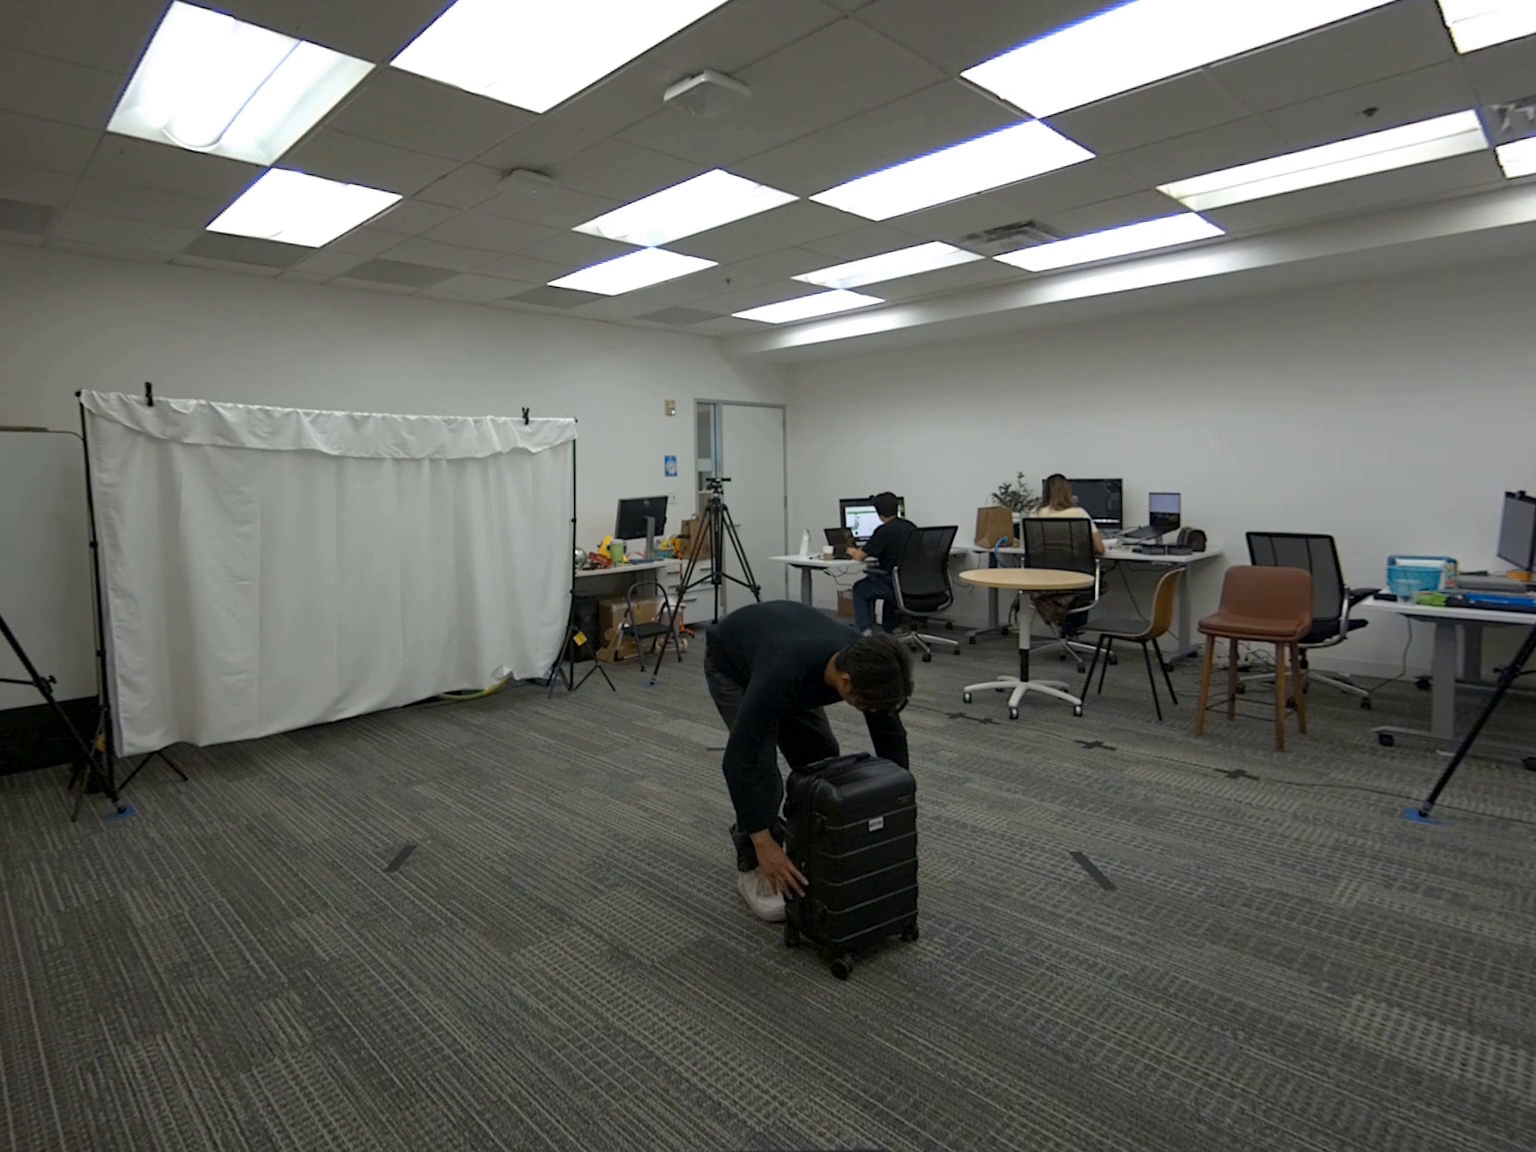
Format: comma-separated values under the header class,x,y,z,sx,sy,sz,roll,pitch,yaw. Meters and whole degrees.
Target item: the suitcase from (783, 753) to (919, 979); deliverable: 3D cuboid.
class,x,y,z,sx,sy,sz,roll,pitch,yaw
suitcase,0.260,0.828,2.547,0.366,0.547,0.255,-4,5,-35
